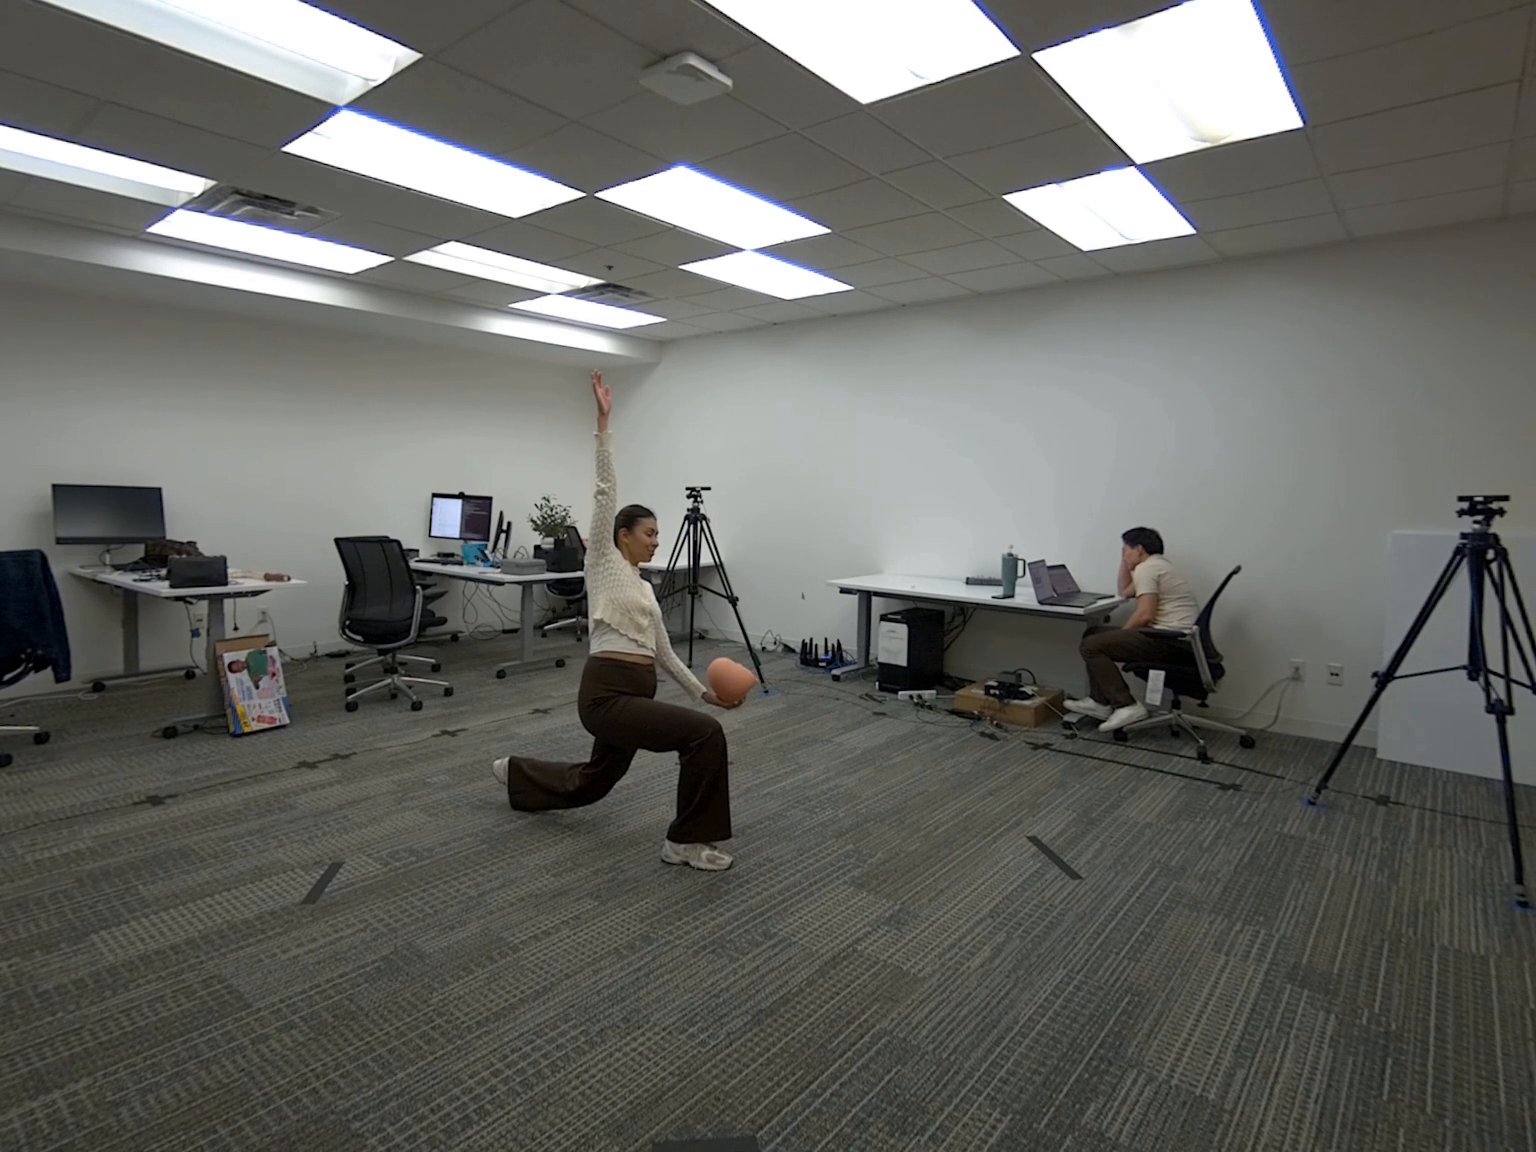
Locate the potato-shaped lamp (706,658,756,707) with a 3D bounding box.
[{"bbox_3d":[-0.173,0.432,3.576,0.201,0.164,0.169,43,28,8],"label":"potato-shaped lamp"}]
